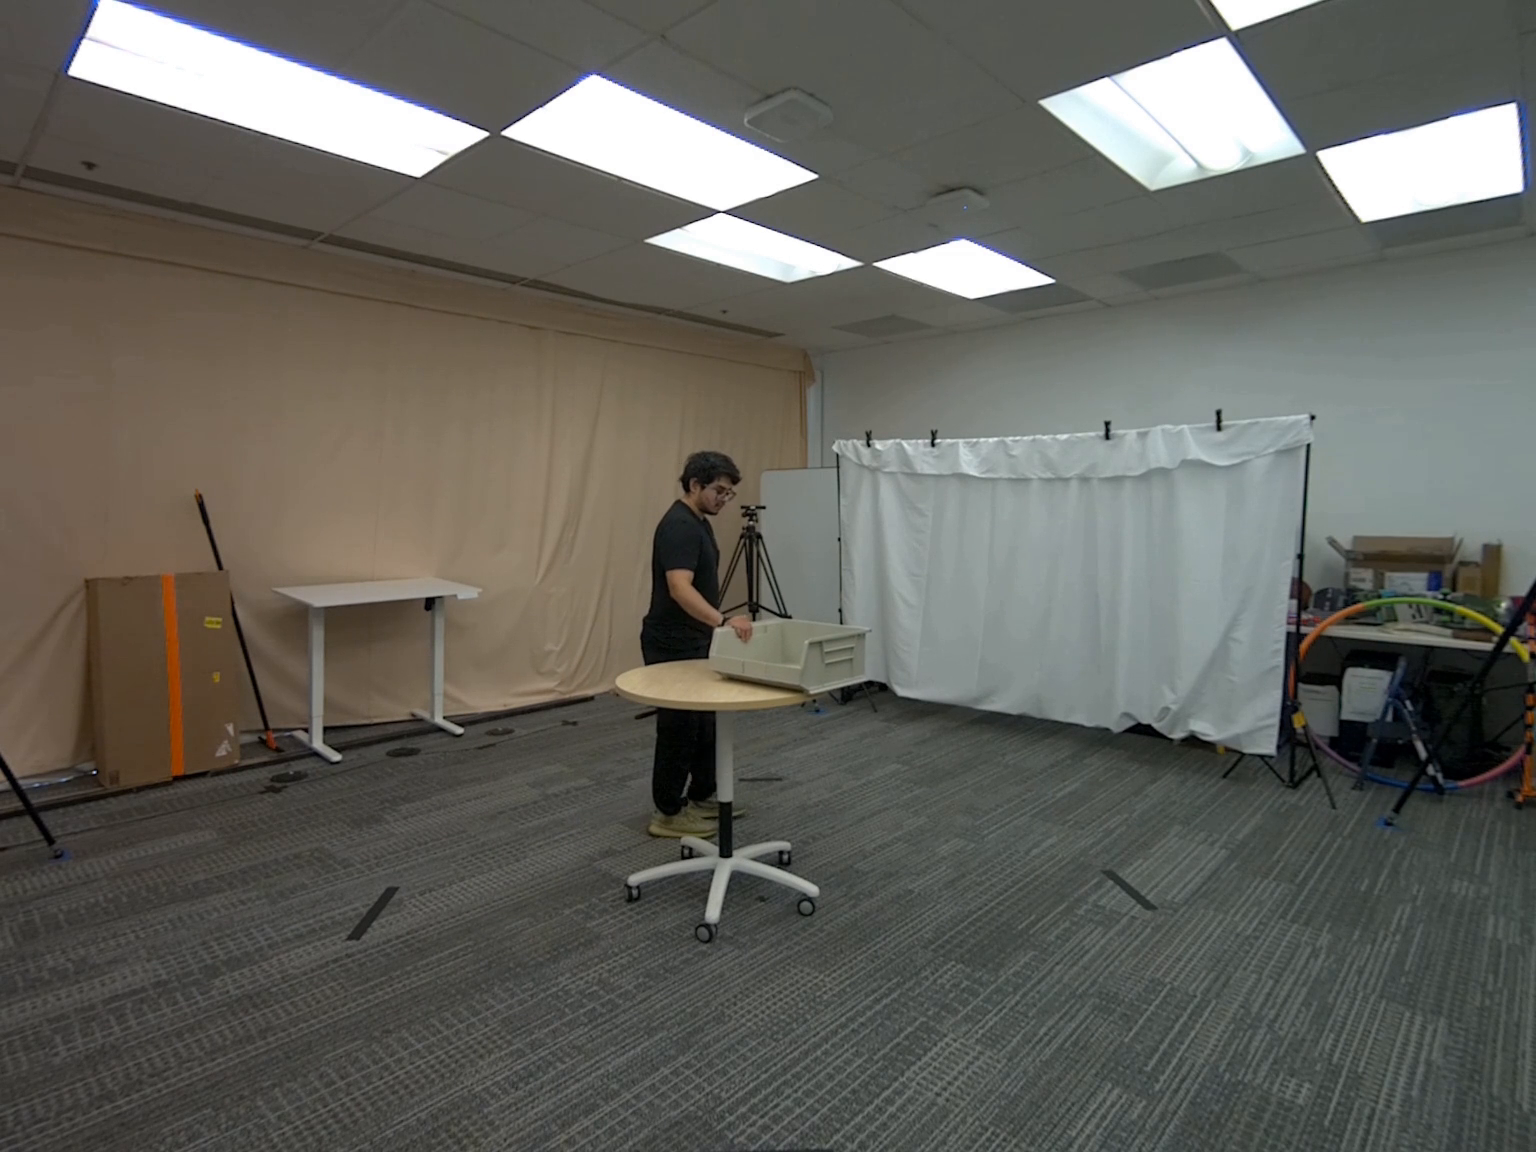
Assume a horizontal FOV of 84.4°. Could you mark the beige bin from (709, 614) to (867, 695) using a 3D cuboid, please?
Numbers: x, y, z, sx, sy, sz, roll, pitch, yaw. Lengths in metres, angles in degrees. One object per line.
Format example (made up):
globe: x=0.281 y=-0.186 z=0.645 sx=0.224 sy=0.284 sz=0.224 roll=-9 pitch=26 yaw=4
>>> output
beige bin: x=0.077 y=0.272 z=2.927 sx=0.436 sy=0.189 sz=0.365 roll=3 pitch=4 yaw=43
